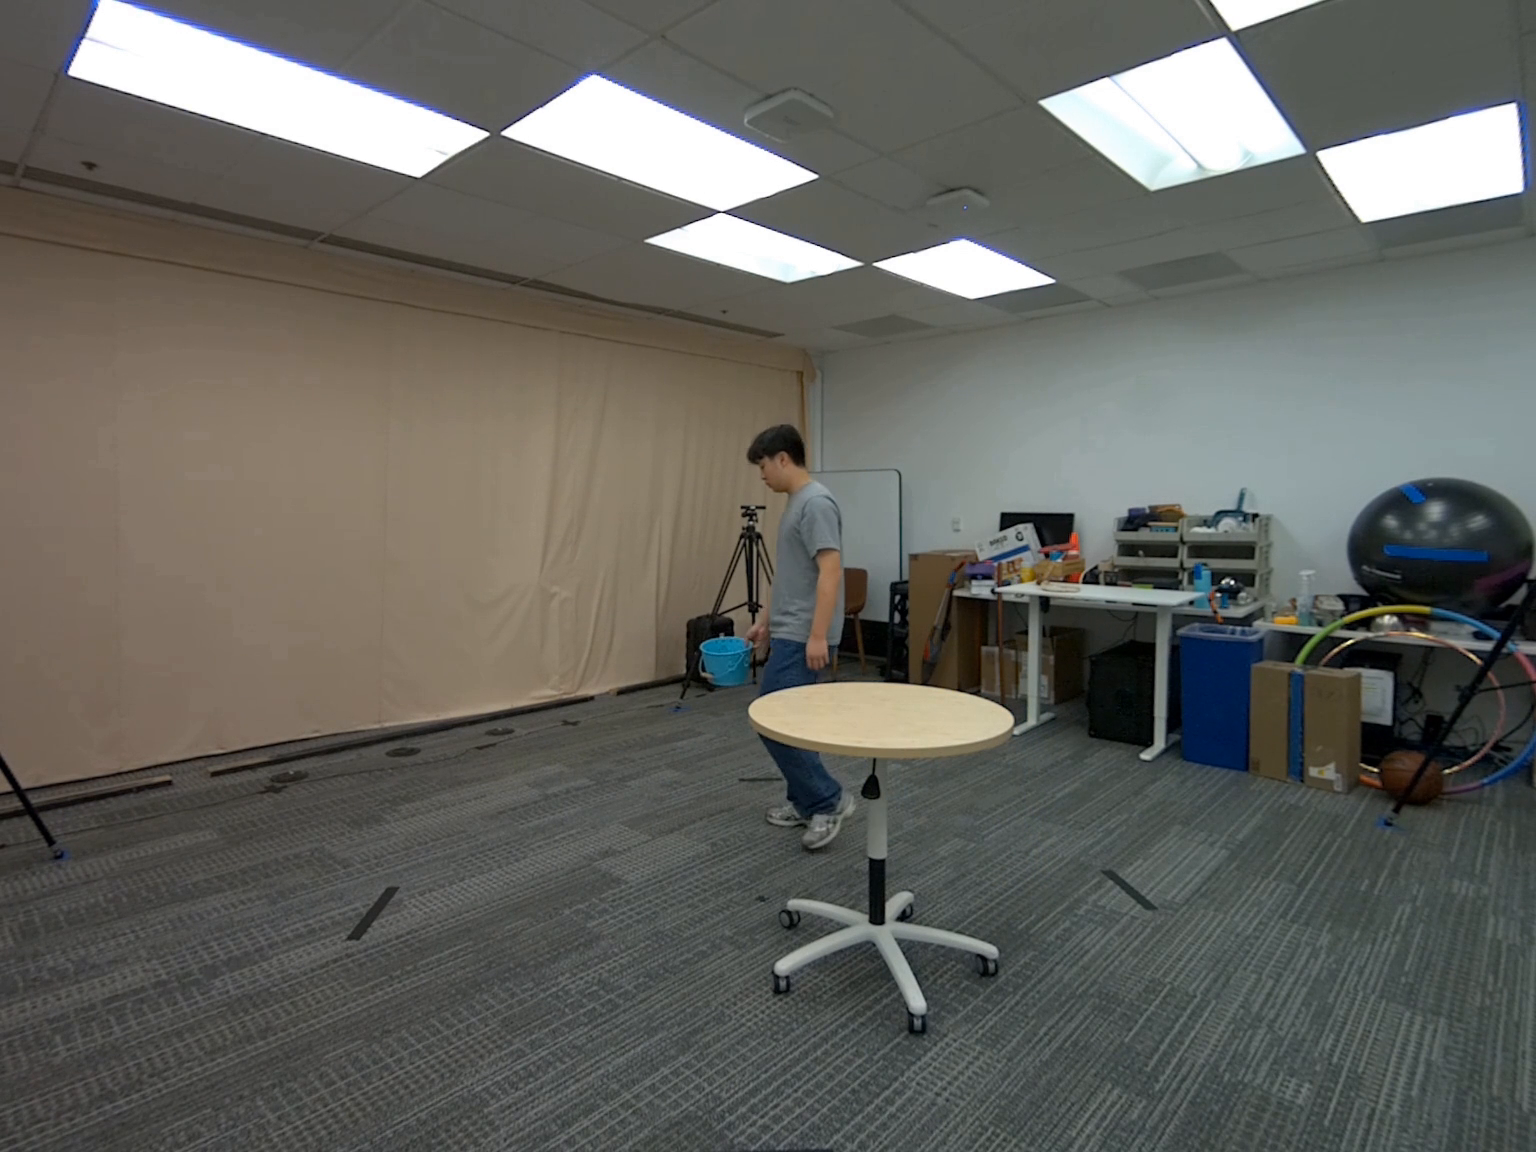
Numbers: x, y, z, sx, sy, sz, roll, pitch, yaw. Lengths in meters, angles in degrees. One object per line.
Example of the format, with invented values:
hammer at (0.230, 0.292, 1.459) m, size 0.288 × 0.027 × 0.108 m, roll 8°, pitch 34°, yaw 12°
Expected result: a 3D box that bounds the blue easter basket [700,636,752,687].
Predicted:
blue easter basket at (-0.176, 0.382, 3.725) m, size 0.243 × 0.155 × 0.245 m, roll -2°, pitch 11°, yaw -1°
